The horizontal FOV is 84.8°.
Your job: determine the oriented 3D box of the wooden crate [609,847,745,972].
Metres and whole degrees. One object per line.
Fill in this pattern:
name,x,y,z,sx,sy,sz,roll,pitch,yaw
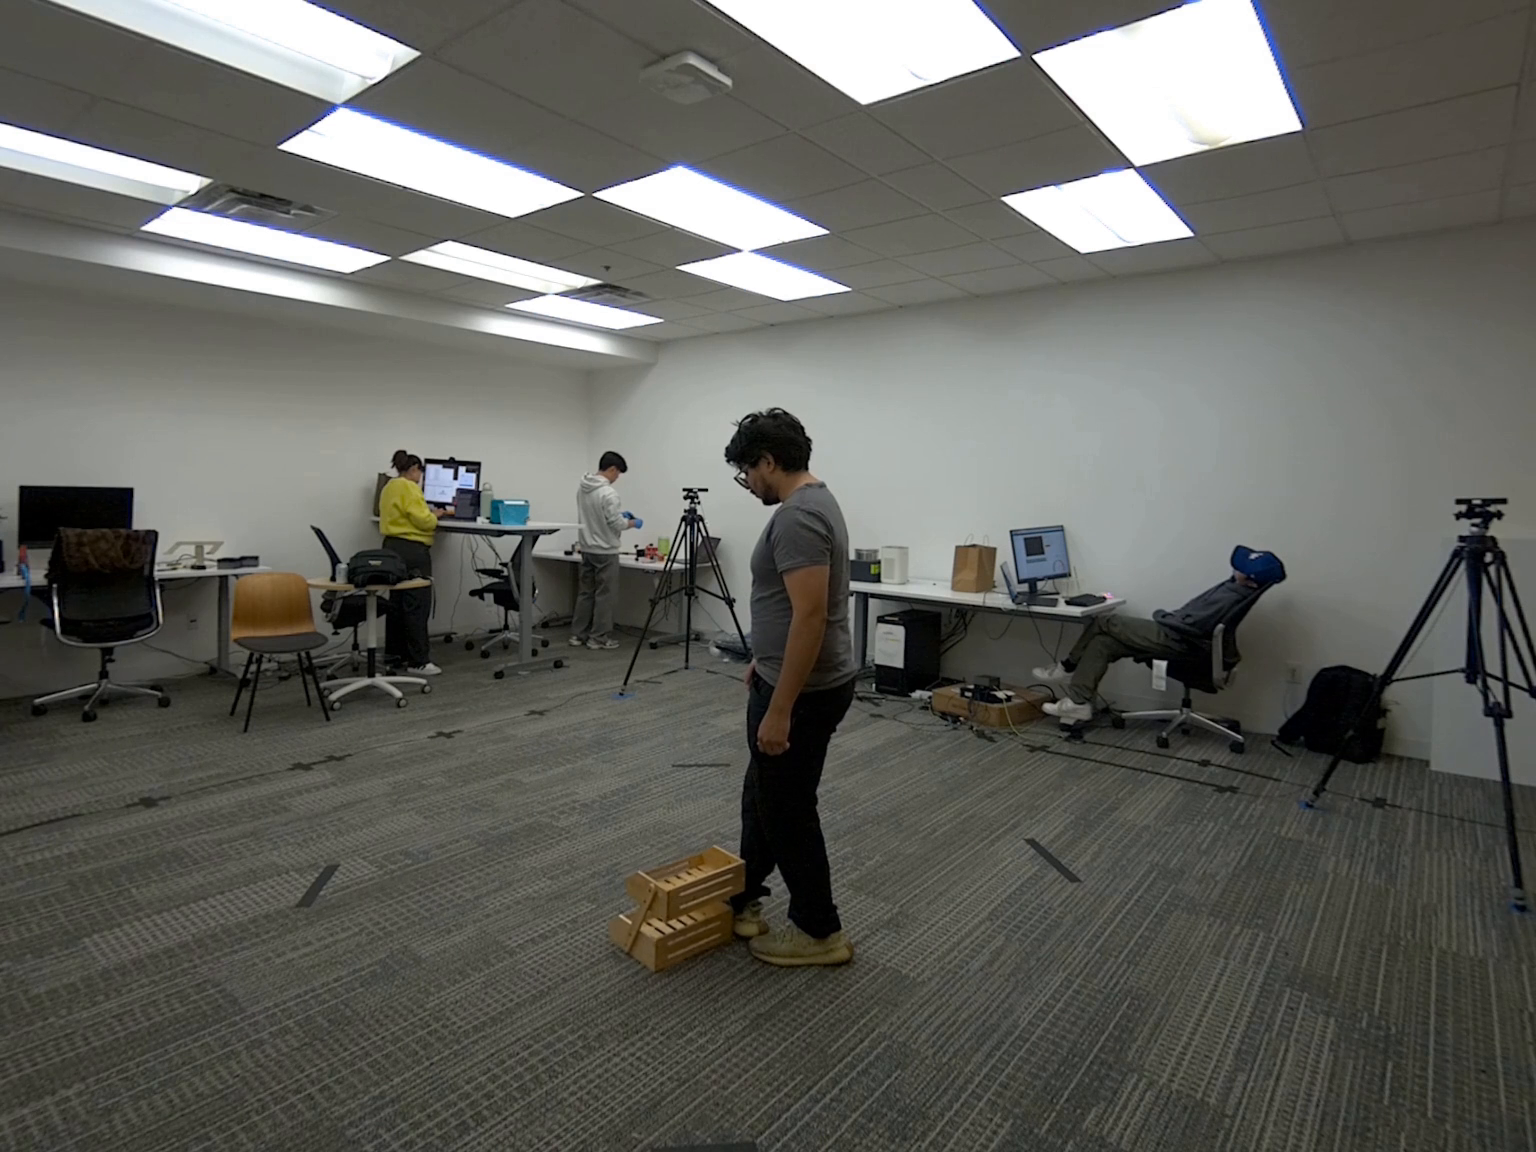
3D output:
wooden crate,-0.293,0.983,2.604,0.315,0.272,0.312,-4,7,-43
